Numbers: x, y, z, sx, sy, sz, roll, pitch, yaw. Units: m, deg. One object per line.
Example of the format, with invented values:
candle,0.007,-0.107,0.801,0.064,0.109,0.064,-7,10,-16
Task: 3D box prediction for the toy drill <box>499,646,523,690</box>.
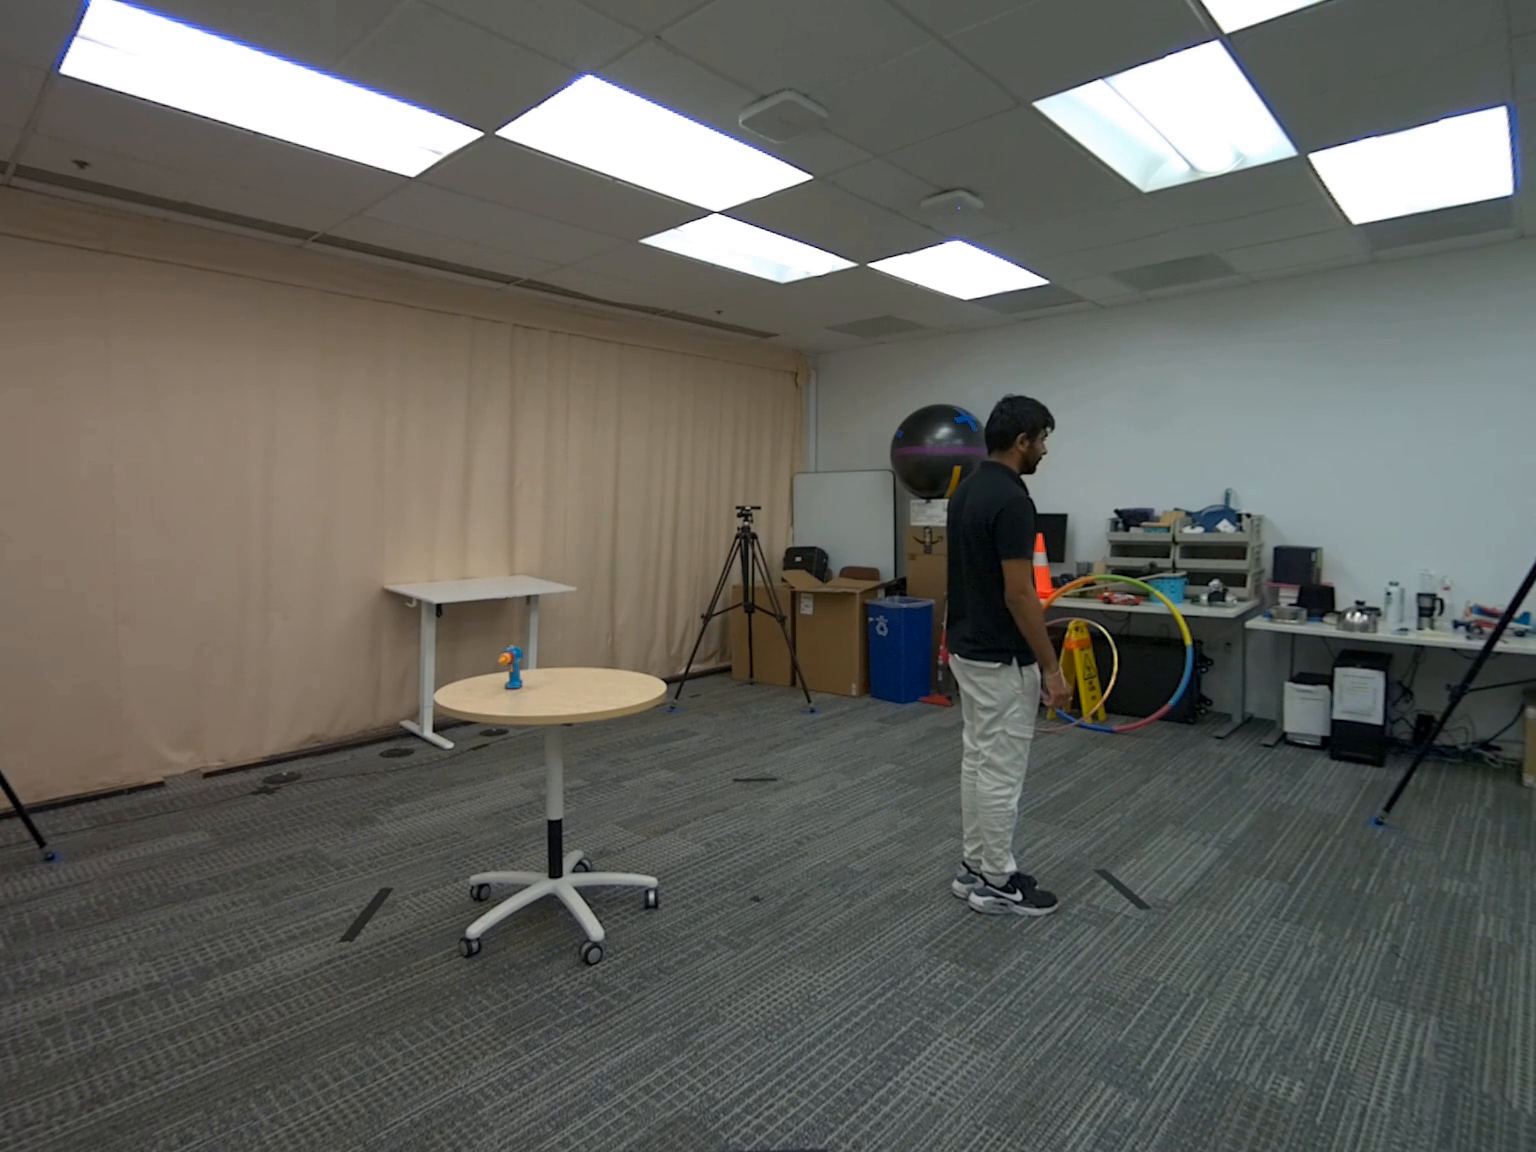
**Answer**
toy drill,-0.861,0.310,2.802,0.061,0.146,0.170,0,3,0
